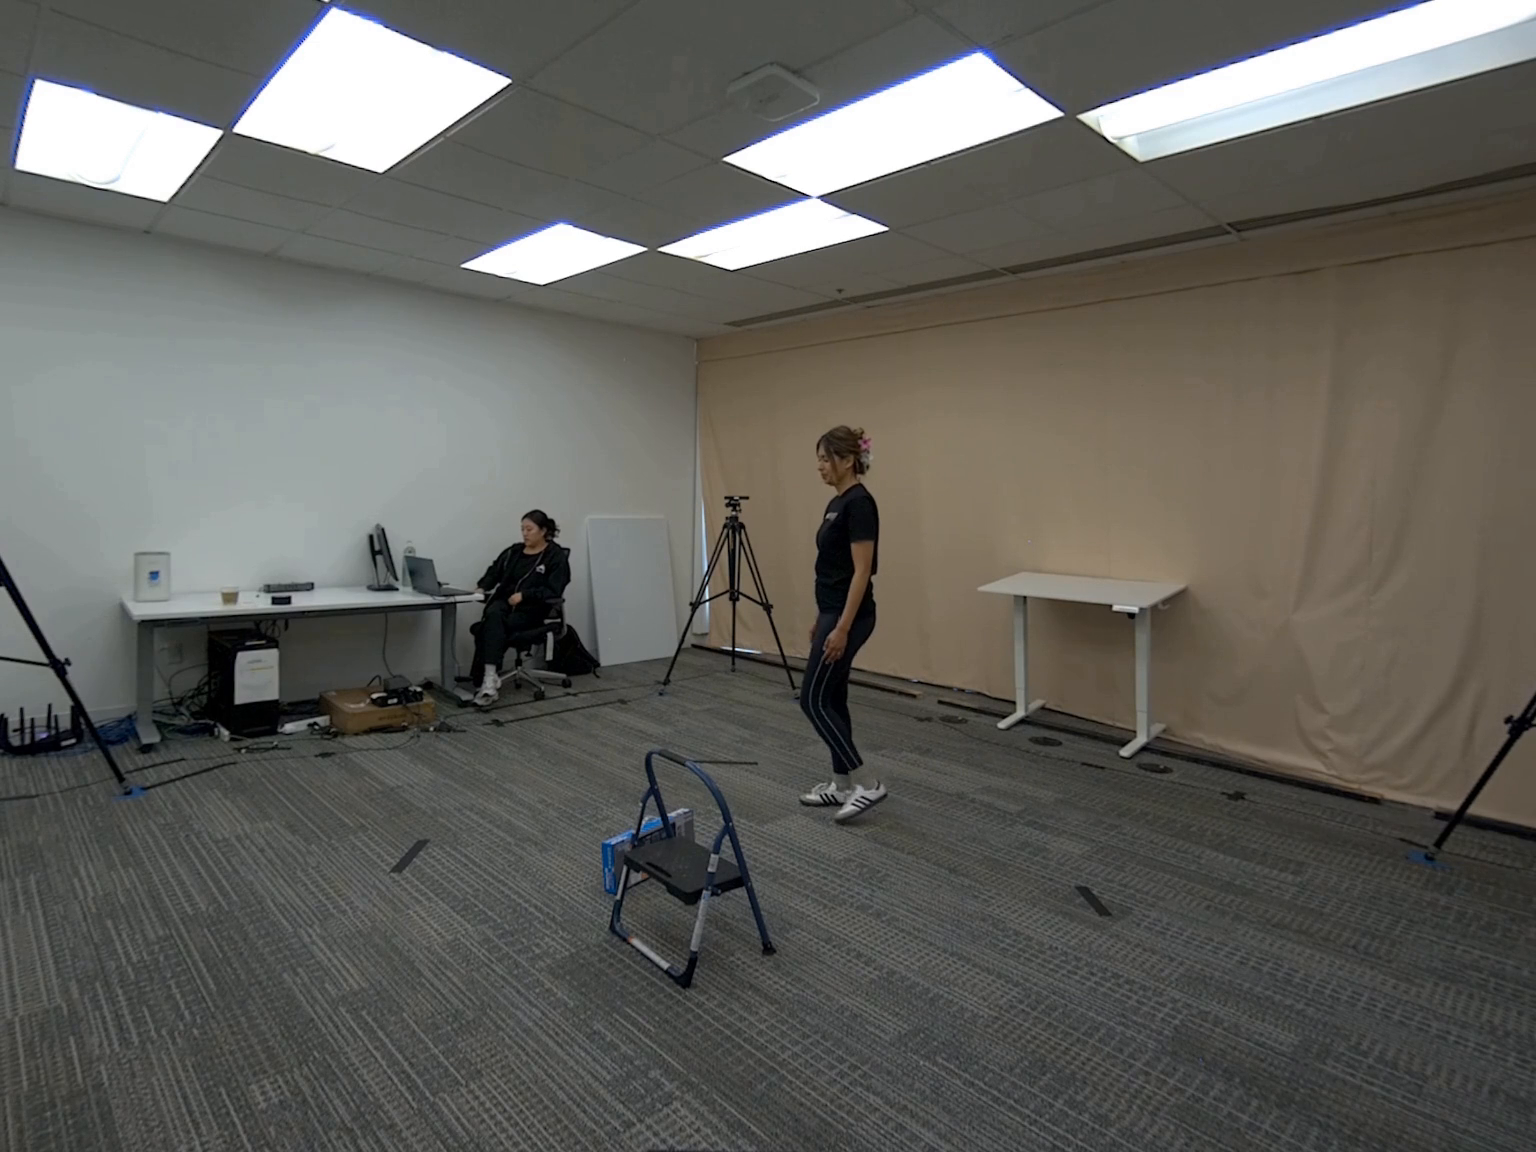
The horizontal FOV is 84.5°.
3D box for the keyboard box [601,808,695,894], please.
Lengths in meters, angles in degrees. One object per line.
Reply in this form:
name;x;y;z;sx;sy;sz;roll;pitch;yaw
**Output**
keyboard box;-0.439;1.011;3.109;0.060;0.176;0.428;-3;2;35
